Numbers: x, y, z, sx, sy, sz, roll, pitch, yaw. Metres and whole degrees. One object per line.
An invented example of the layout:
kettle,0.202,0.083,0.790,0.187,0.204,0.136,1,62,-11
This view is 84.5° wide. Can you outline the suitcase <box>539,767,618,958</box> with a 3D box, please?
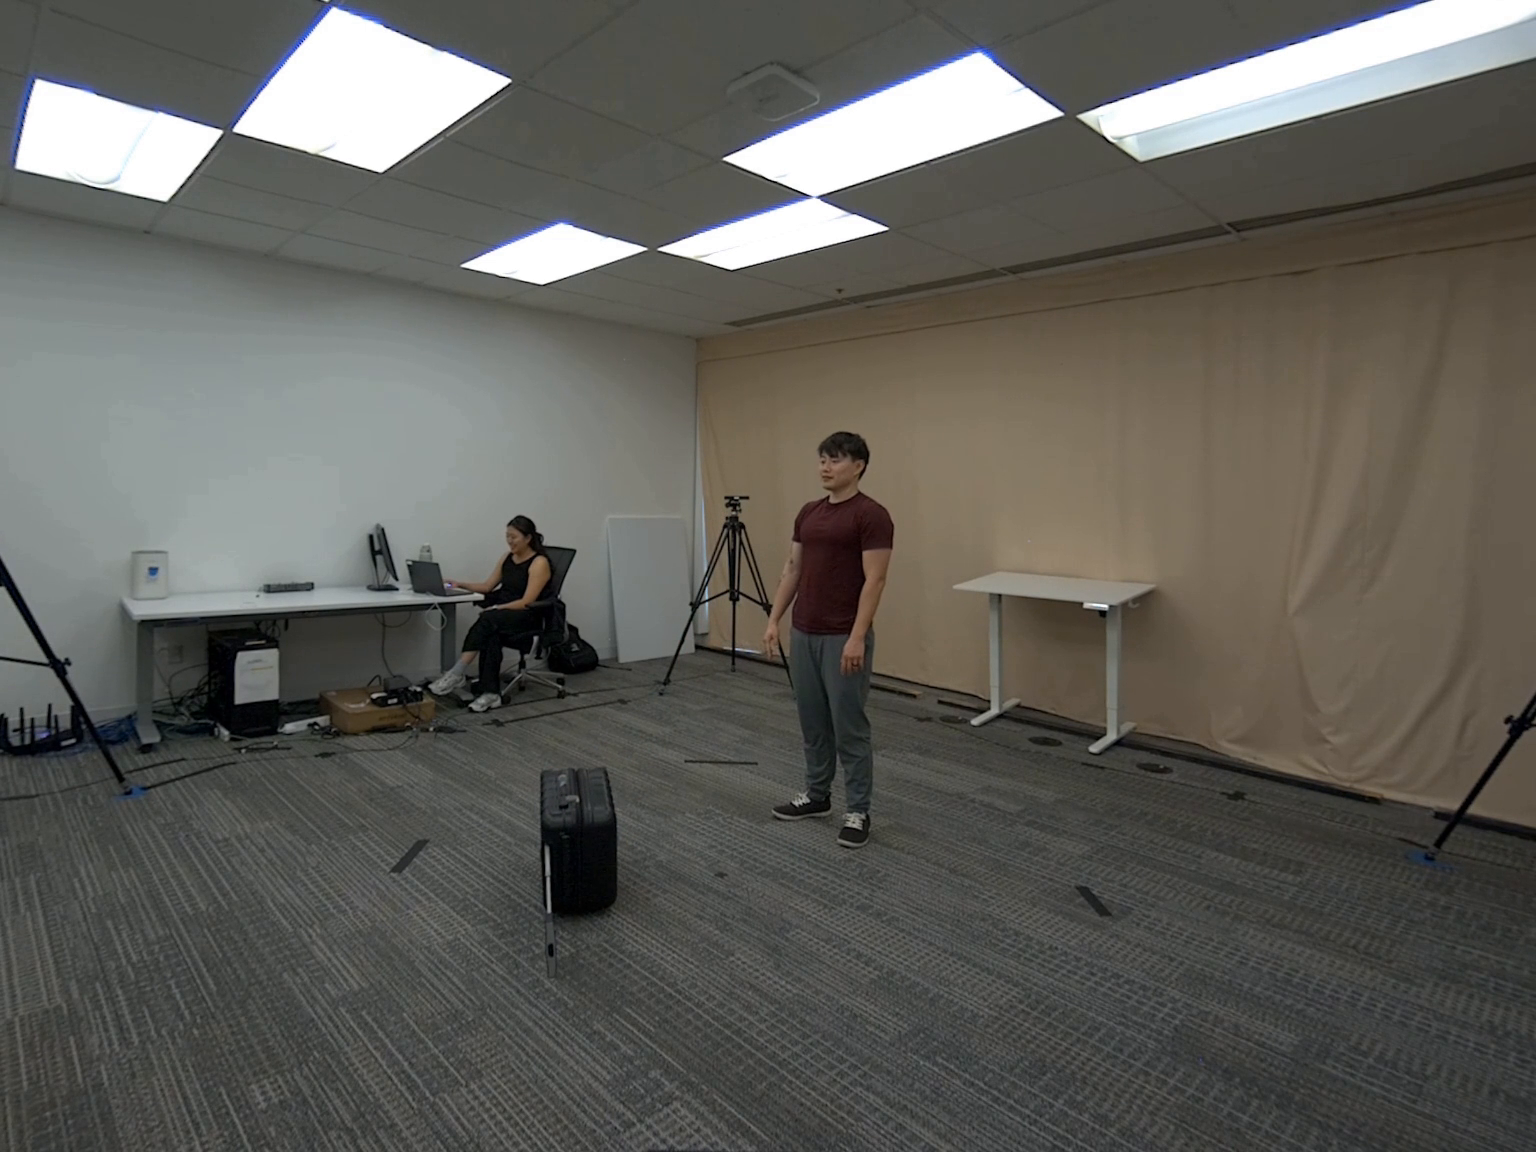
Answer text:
suitcase,-0.617,0.938,2.767,0.254,0.382,0.994,0,6,-17
